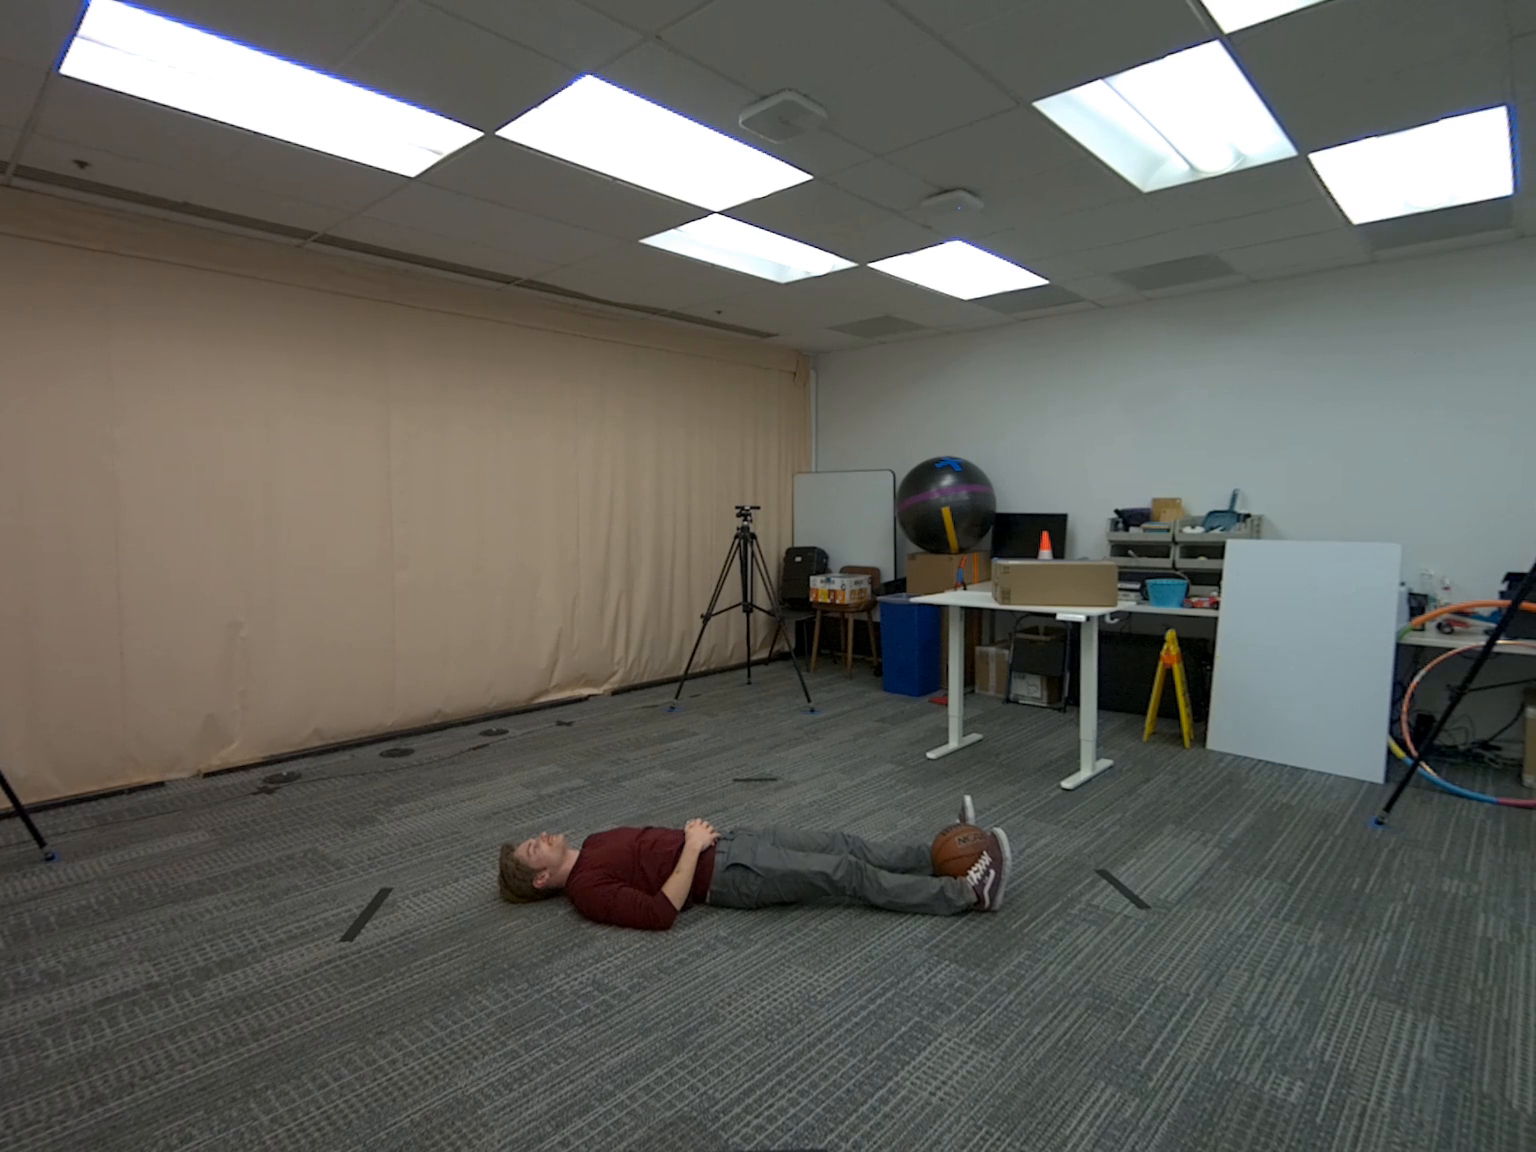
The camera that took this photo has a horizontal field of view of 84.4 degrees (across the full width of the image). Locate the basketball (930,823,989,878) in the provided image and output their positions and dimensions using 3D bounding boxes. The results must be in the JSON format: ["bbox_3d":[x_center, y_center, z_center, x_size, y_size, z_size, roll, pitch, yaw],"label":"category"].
[{"bbox_3d":[0.710,1.010,3.026,0.235,0.235,0.237,3,5,-2],"label":"basketball"}]
